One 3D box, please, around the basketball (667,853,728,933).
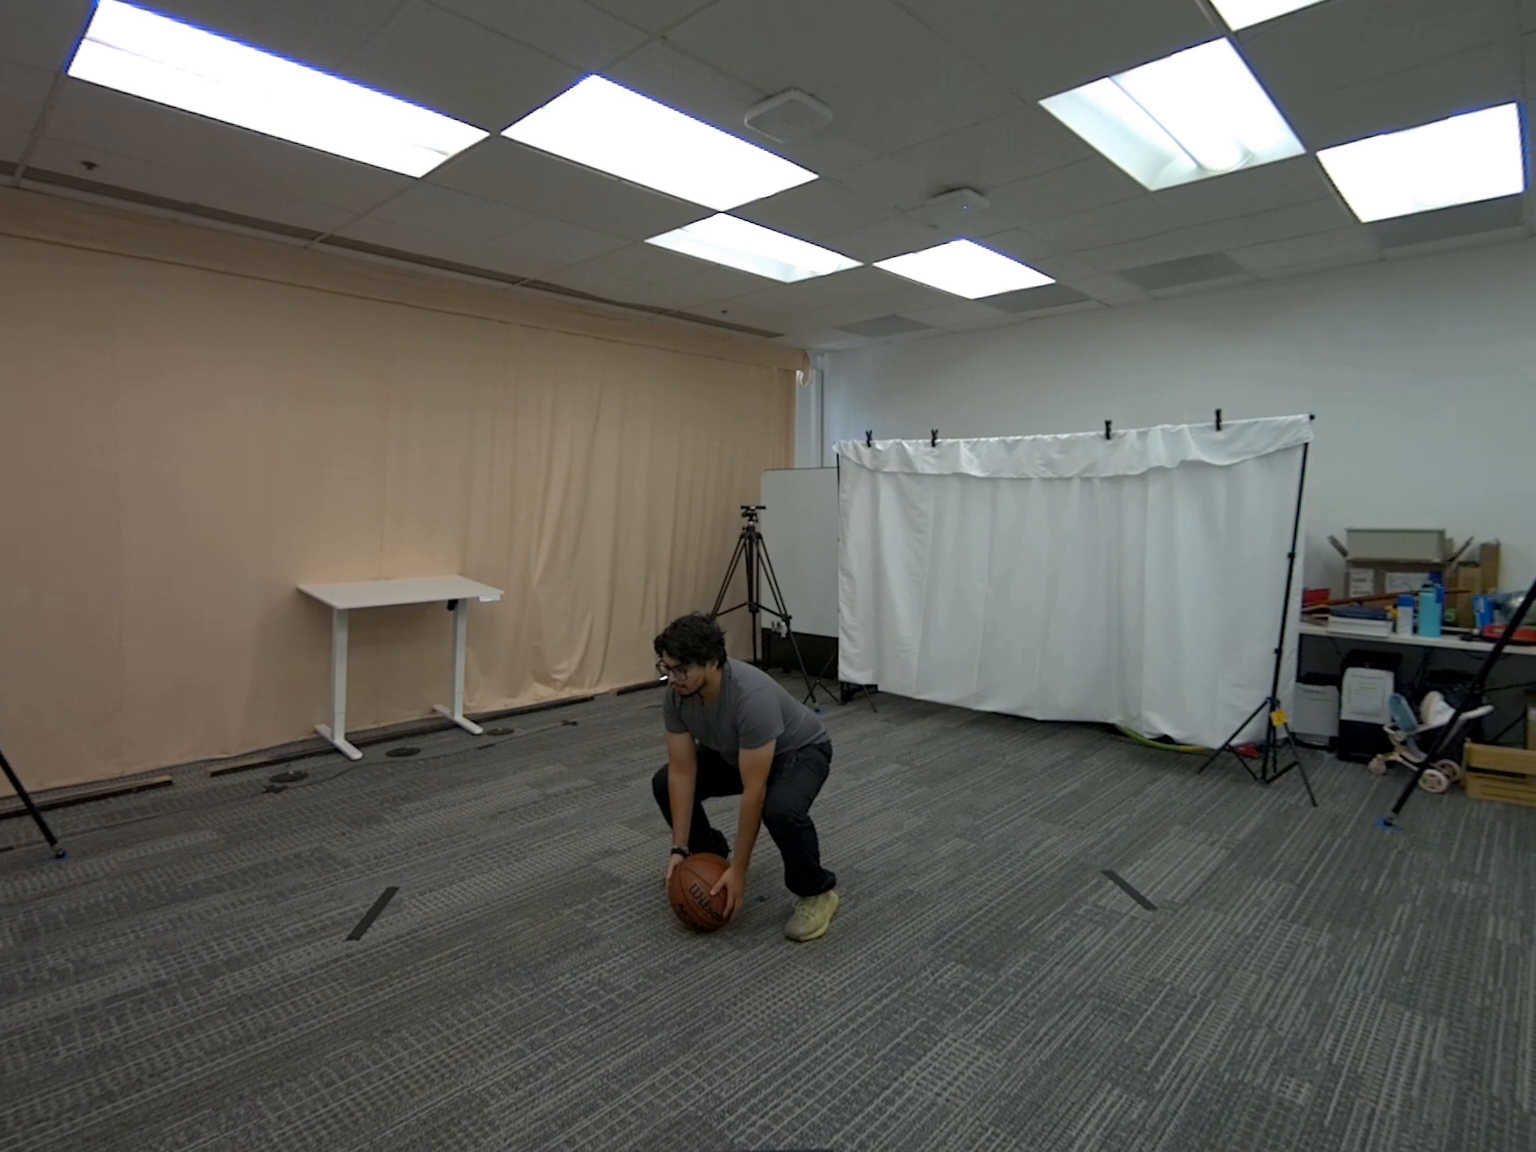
[{"bbox_3d":[-0.210,1.043,2.784,0.236,0.235,0.237,0,4,-2],"label":"basketball"}]
